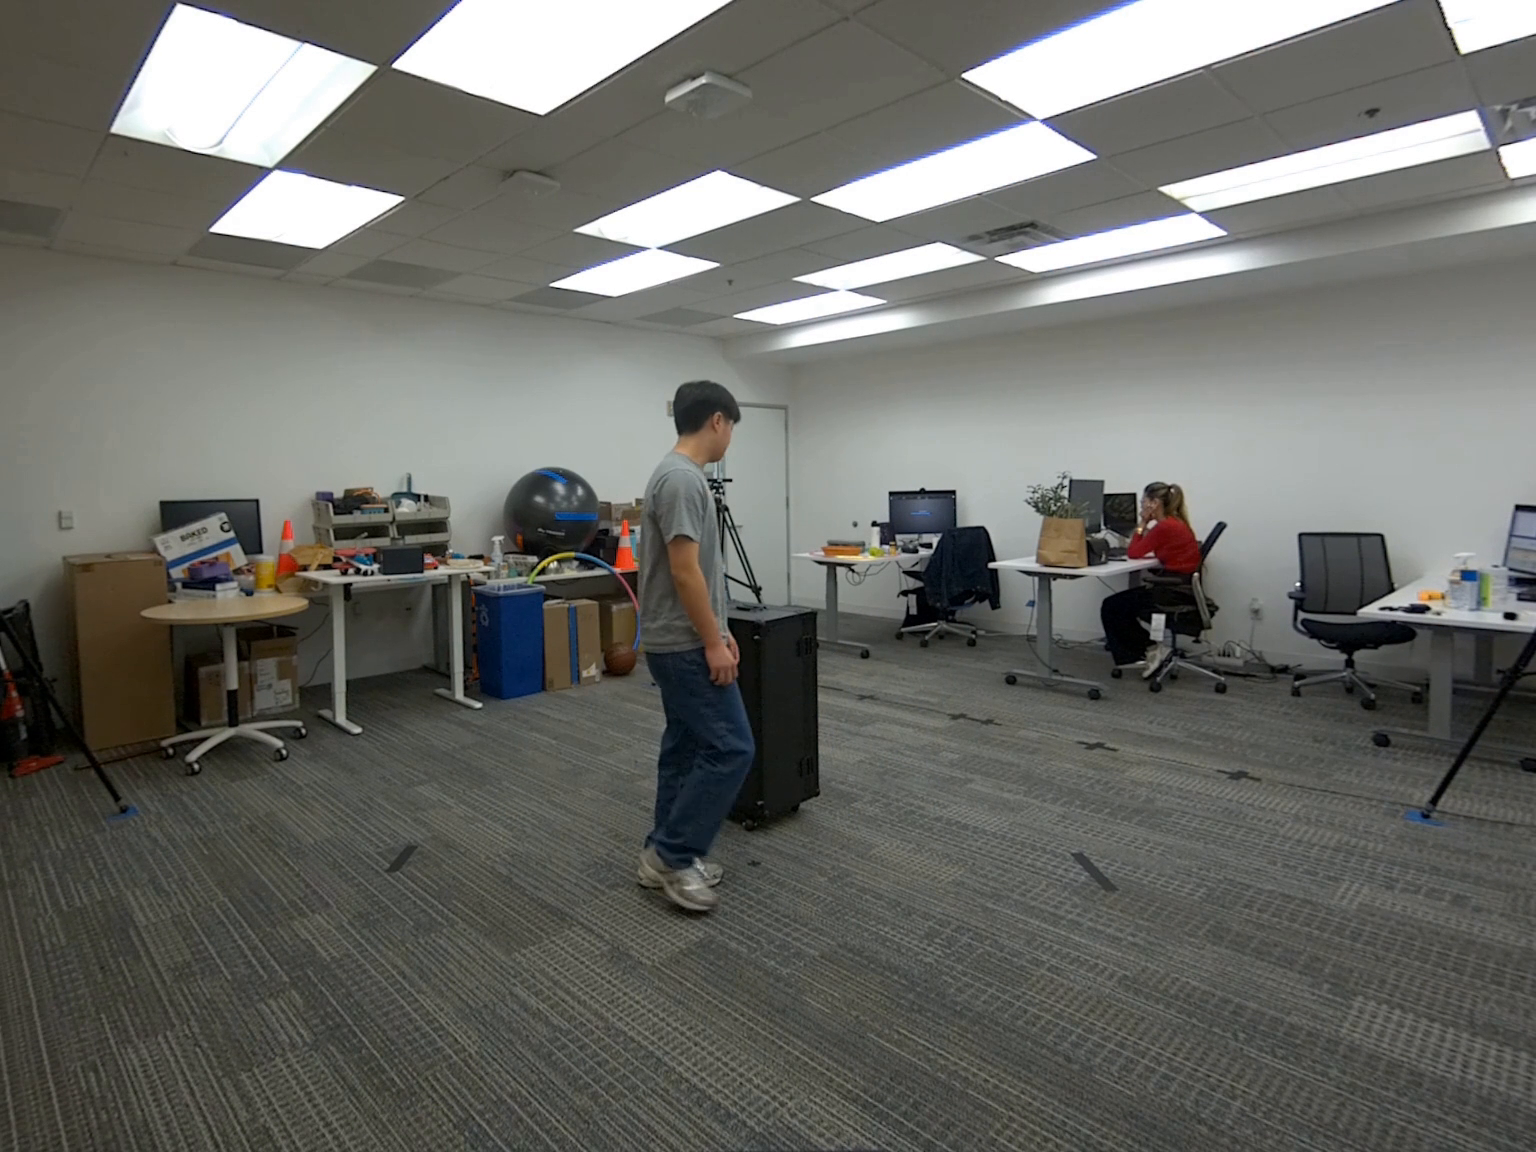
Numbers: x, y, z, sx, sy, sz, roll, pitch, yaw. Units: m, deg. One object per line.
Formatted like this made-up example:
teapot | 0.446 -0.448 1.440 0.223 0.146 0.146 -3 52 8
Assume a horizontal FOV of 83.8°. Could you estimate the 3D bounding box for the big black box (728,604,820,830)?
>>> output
big black box | -0.086 0.566 3.587 0.537 0.858 0.386 3 7 43
